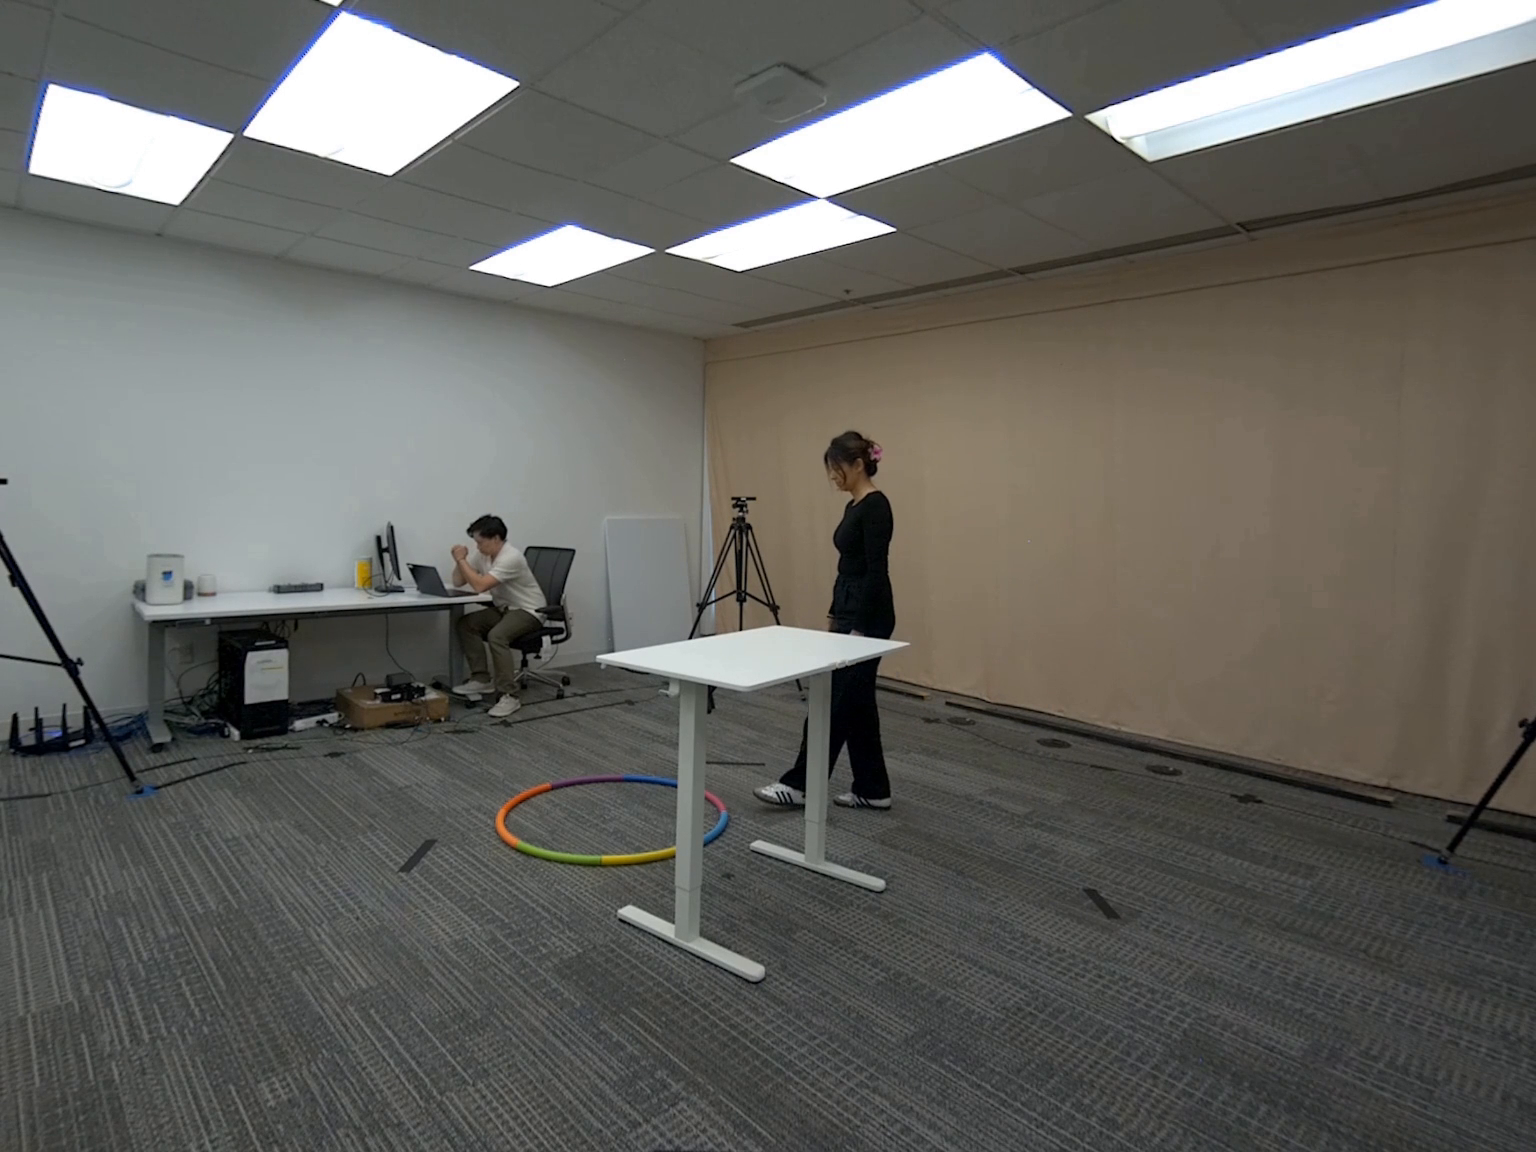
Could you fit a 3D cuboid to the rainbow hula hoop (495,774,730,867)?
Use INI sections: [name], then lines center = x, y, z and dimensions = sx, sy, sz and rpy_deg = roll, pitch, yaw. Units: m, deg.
[rainbow hula hoop]
center = -0.675, 1.021, 3.637
dimensions = 0.978, 0.035, 0.982
rpy_deg = 2, 5, -1
